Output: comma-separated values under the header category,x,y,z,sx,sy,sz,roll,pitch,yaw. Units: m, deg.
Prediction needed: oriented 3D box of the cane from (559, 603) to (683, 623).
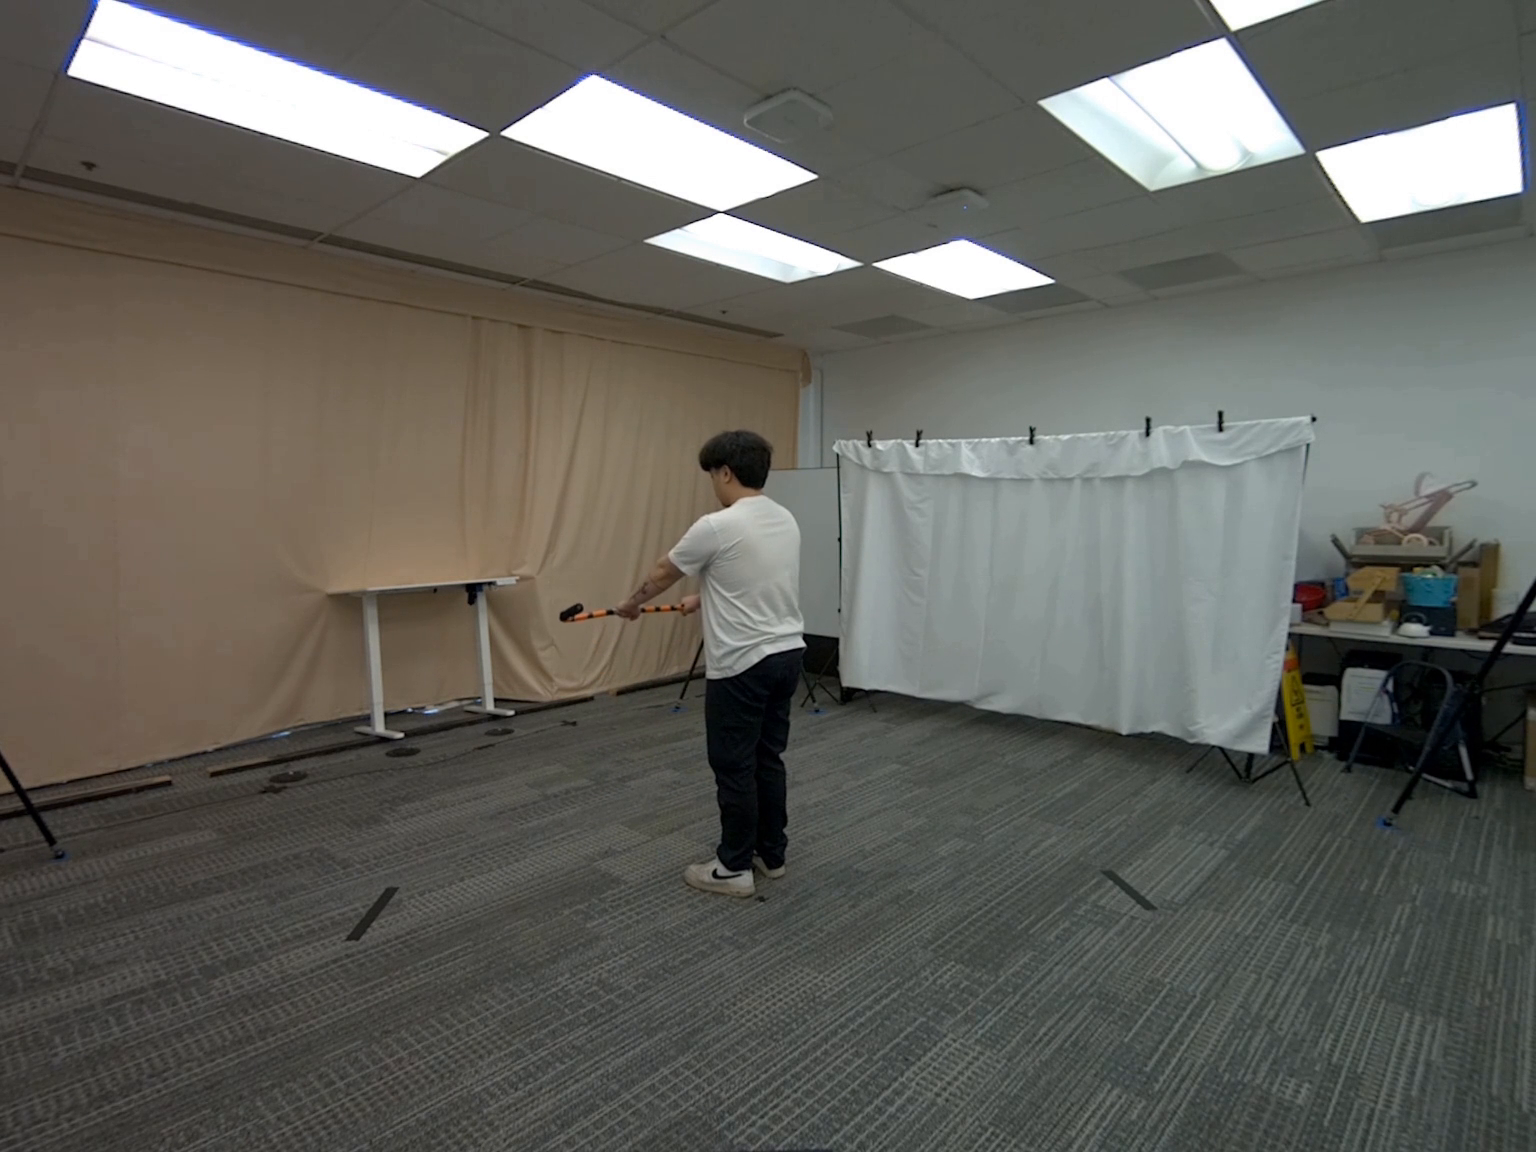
category,x,y,z,sx,sy,sz,roll,pitch,yaw
cane,-0.448,0.123,3.394,0.211,0.153,0.879,-24,-15,41
